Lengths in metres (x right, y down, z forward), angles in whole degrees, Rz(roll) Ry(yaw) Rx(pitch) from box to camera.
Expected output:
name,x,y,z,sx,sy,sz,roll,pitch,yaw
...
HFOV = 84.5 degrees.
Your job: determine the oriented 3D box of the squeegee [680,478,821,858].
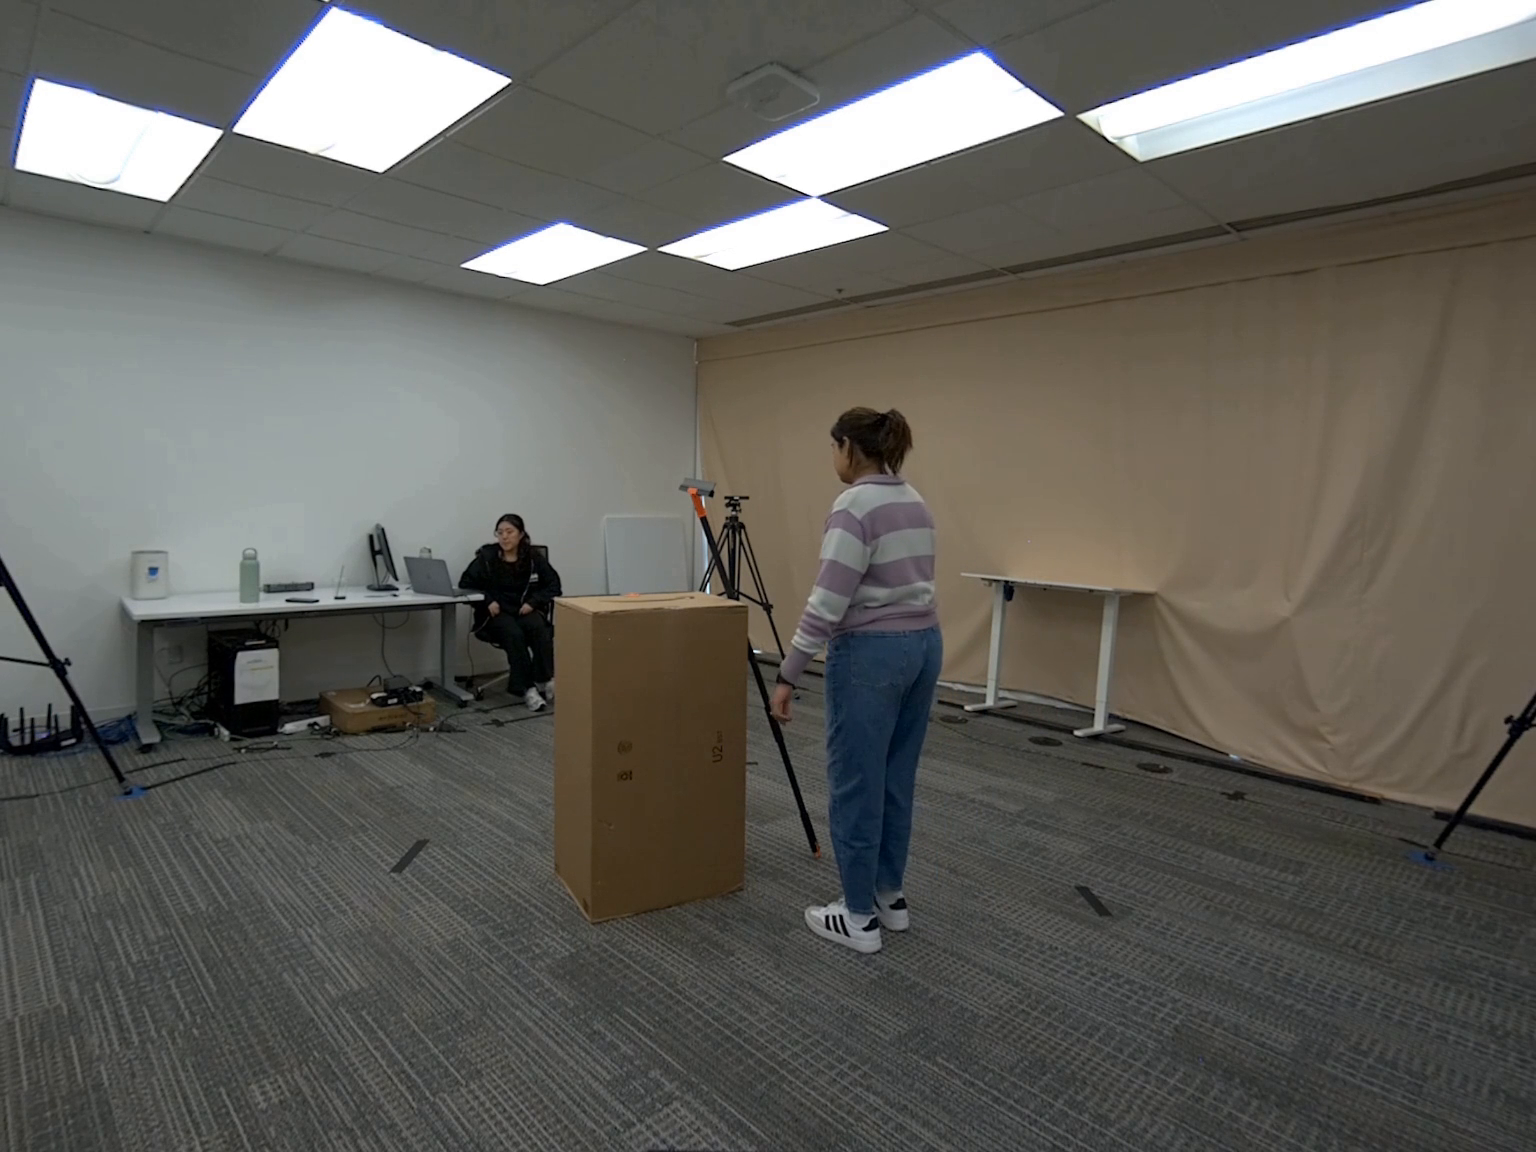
name,x,y,z,sx,sy,sz,roll,pitch,yaw
squeegee,-0.033,0.380,3.128,0.052,1.520,0.446,-21,13,-16
